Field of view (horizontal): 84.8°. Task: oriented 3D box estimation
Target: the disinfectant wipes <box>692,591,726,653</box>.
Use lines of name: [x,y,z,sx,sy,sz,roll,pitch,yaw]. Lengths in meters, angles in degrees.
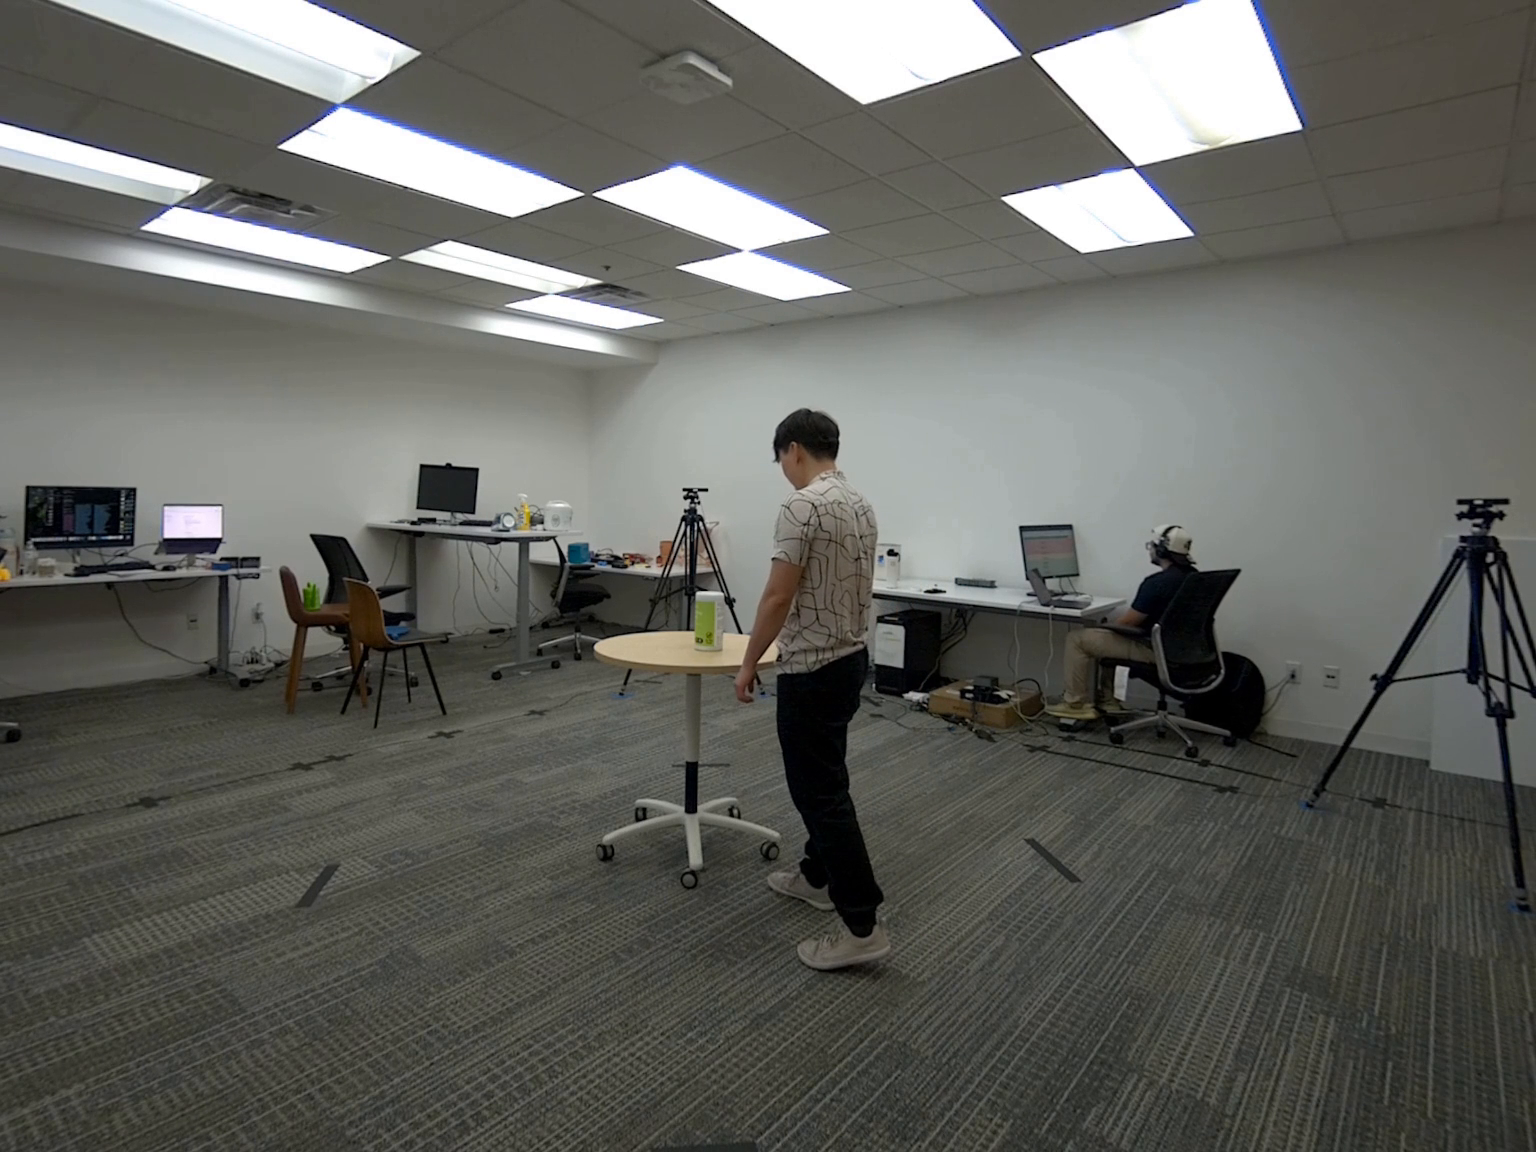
disinfectant wipes: [-0.234,0.170,3.226,0.118,0.217,0.118,1,3,-2]
